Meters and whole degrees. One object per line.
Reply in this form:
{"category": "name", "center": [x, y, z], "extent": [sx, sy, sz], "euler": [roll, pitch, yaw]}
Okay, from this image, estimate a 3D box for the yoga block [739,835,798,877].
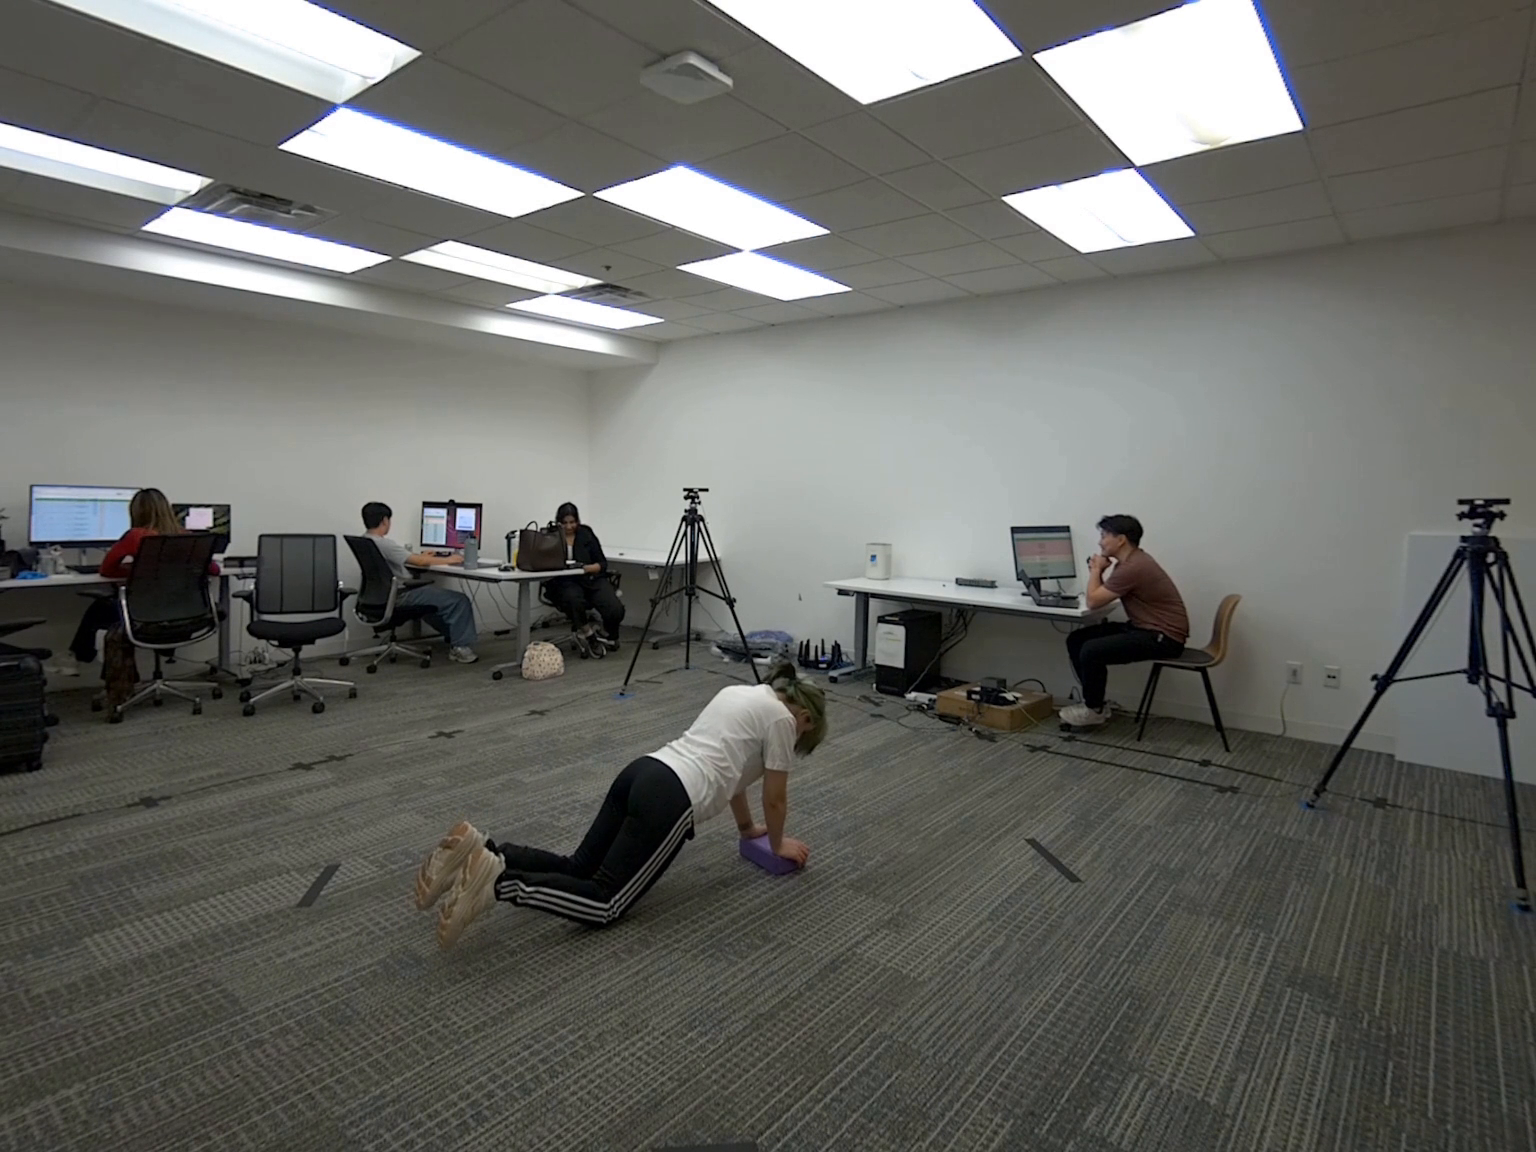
{"category": "yoga block", "center": [0.006, 1.028, 3.191], "extent": [0.144, 0.076, 0.237], "euler": [-1, 4, -38]}
